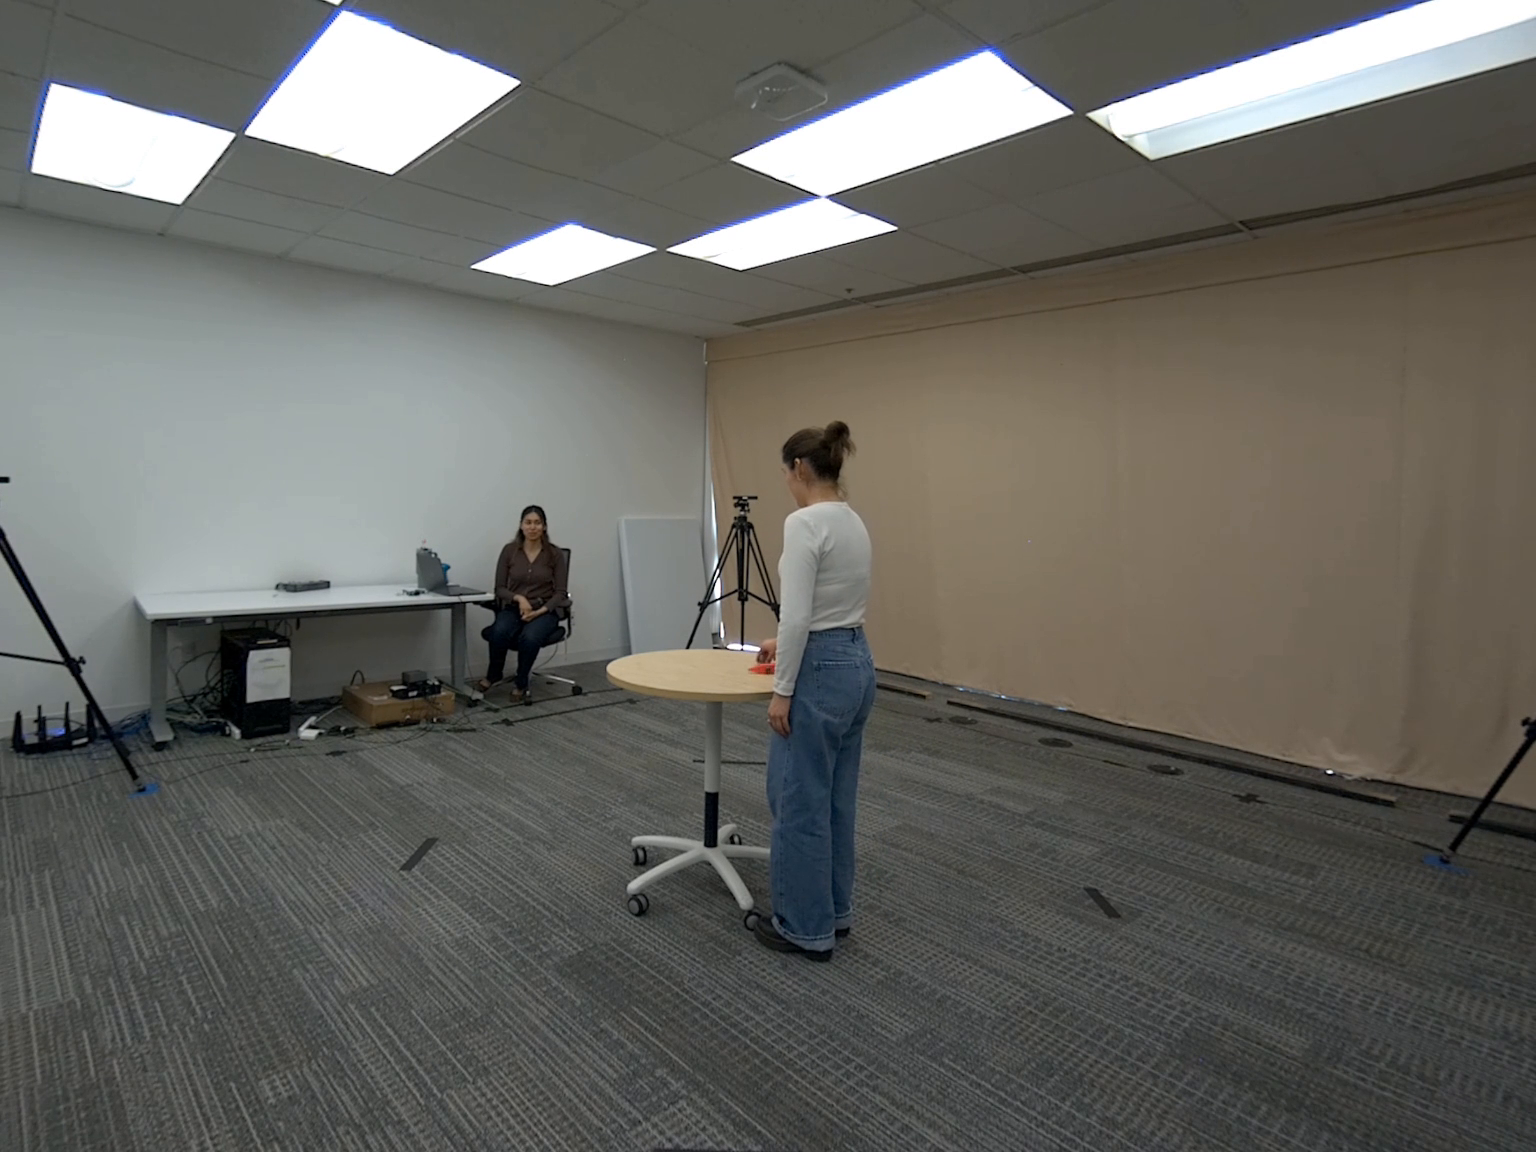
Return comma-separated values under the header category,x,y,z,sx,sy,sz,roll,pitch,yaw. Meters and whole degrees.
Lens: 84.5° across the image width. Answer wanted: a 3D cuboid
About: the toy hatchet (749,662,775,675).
category,x,y,z,sx,sy,sz,roll,pitch,yaw
toy hatchet,0.000,0.315,3.038,0.132,0.029,0.269,-7,6,8
